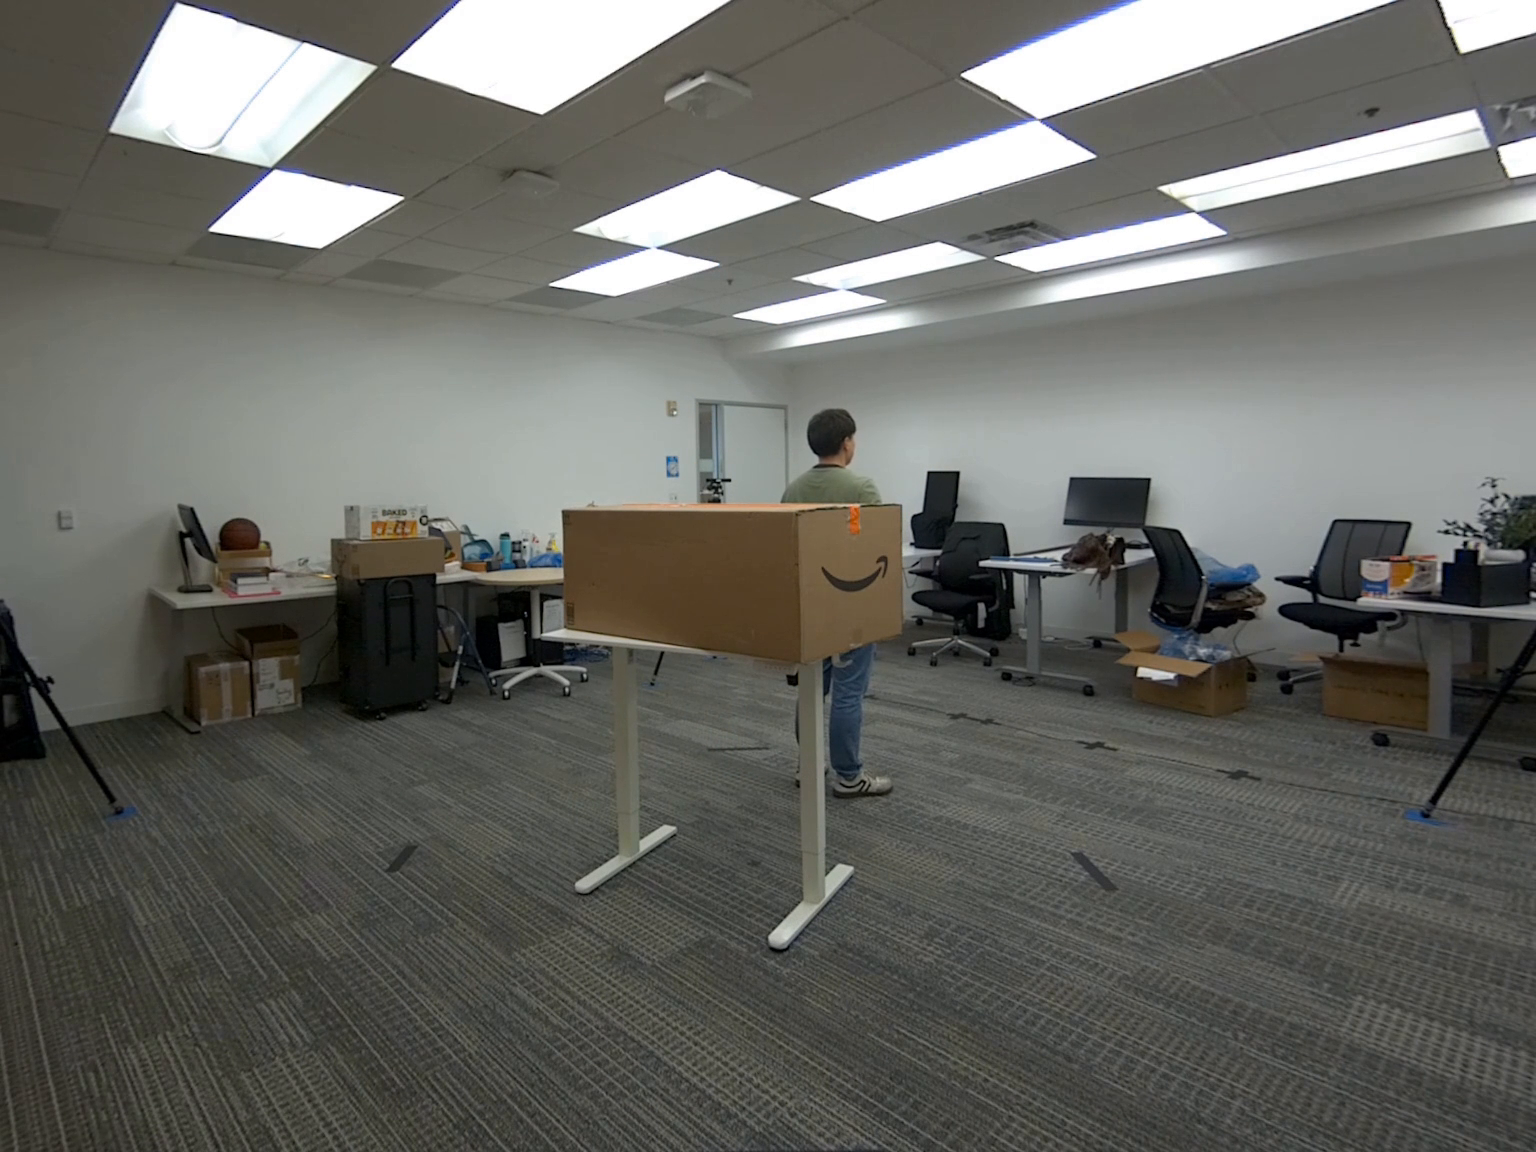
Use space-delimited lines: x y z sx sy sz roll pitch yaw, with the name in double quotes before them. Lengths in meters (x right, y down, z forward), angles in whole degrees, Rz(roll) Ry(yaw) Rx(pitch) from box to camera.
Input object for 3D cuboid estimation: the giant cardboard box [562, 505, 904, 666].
"giant cardboard box" -0.145 -0.021 2.871 1.057 0.425 0.562 3 6 40
